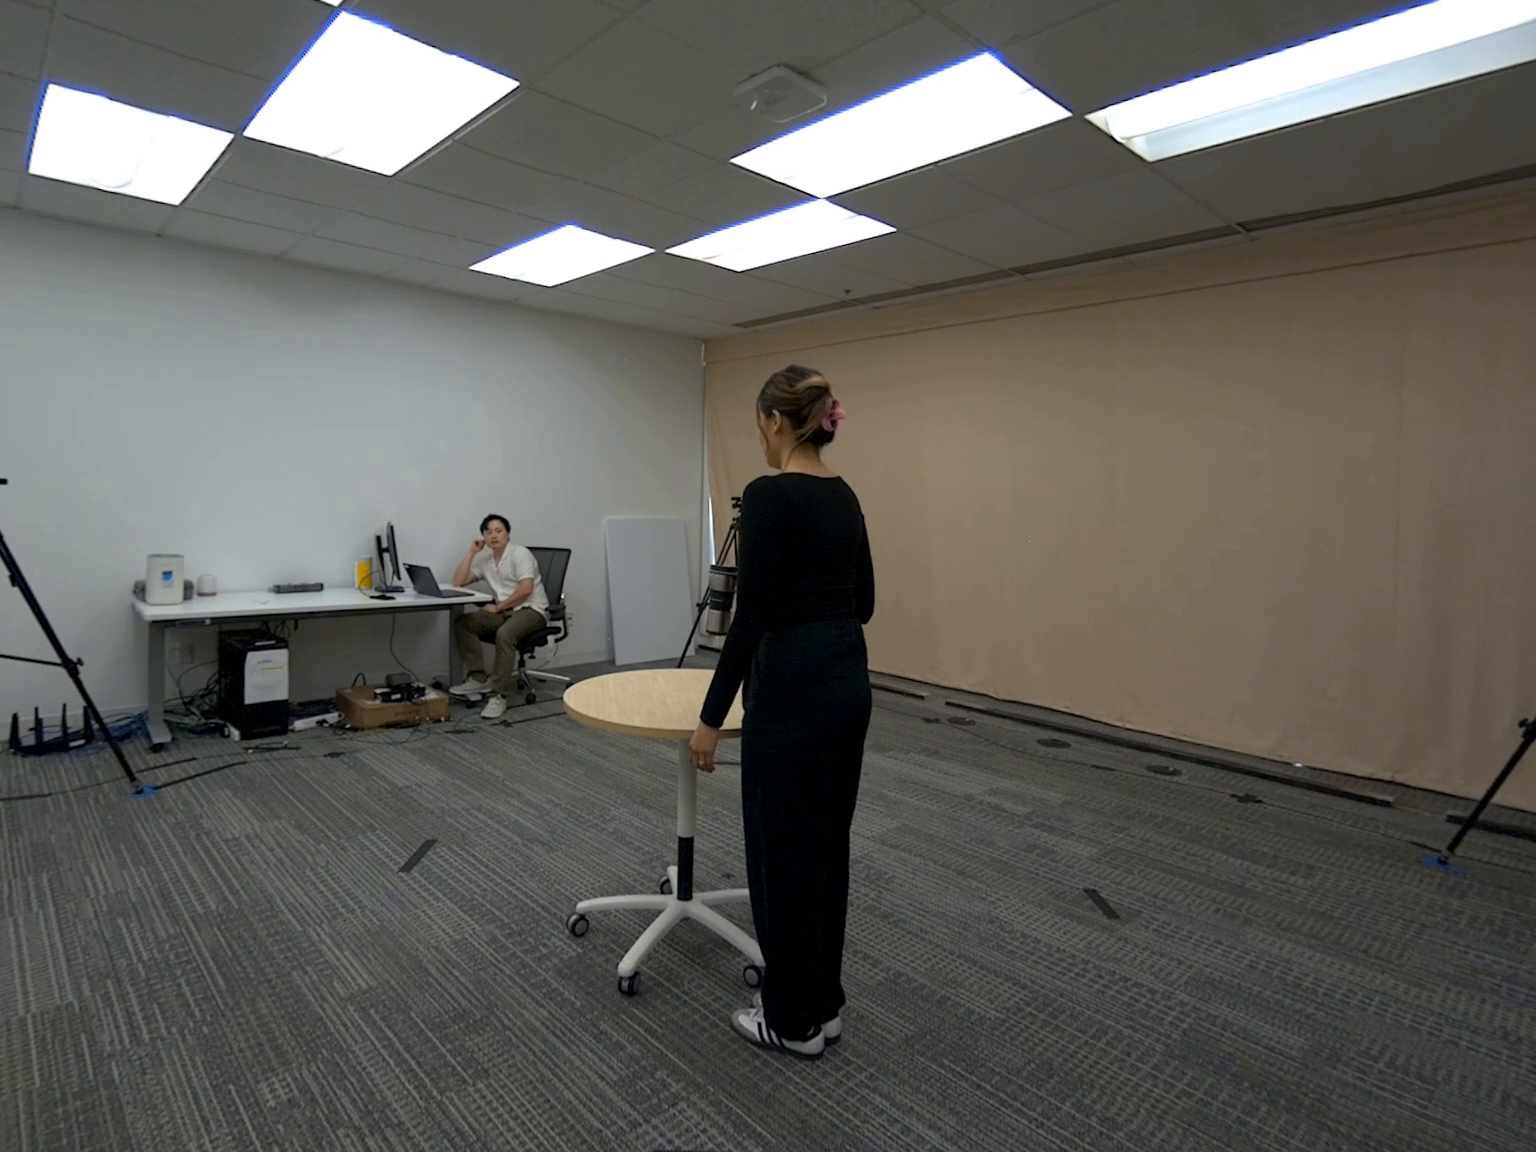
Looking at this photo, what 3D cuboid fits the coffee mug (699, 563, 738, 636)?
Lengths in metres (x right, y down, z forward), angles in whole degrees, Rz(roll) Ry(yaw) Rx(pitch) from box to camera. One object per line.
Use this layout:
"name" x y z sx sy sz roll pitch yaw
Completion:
"coffee mug" -0.121 0.076 2.418 0.125 0.203 0.085 8 1 39
